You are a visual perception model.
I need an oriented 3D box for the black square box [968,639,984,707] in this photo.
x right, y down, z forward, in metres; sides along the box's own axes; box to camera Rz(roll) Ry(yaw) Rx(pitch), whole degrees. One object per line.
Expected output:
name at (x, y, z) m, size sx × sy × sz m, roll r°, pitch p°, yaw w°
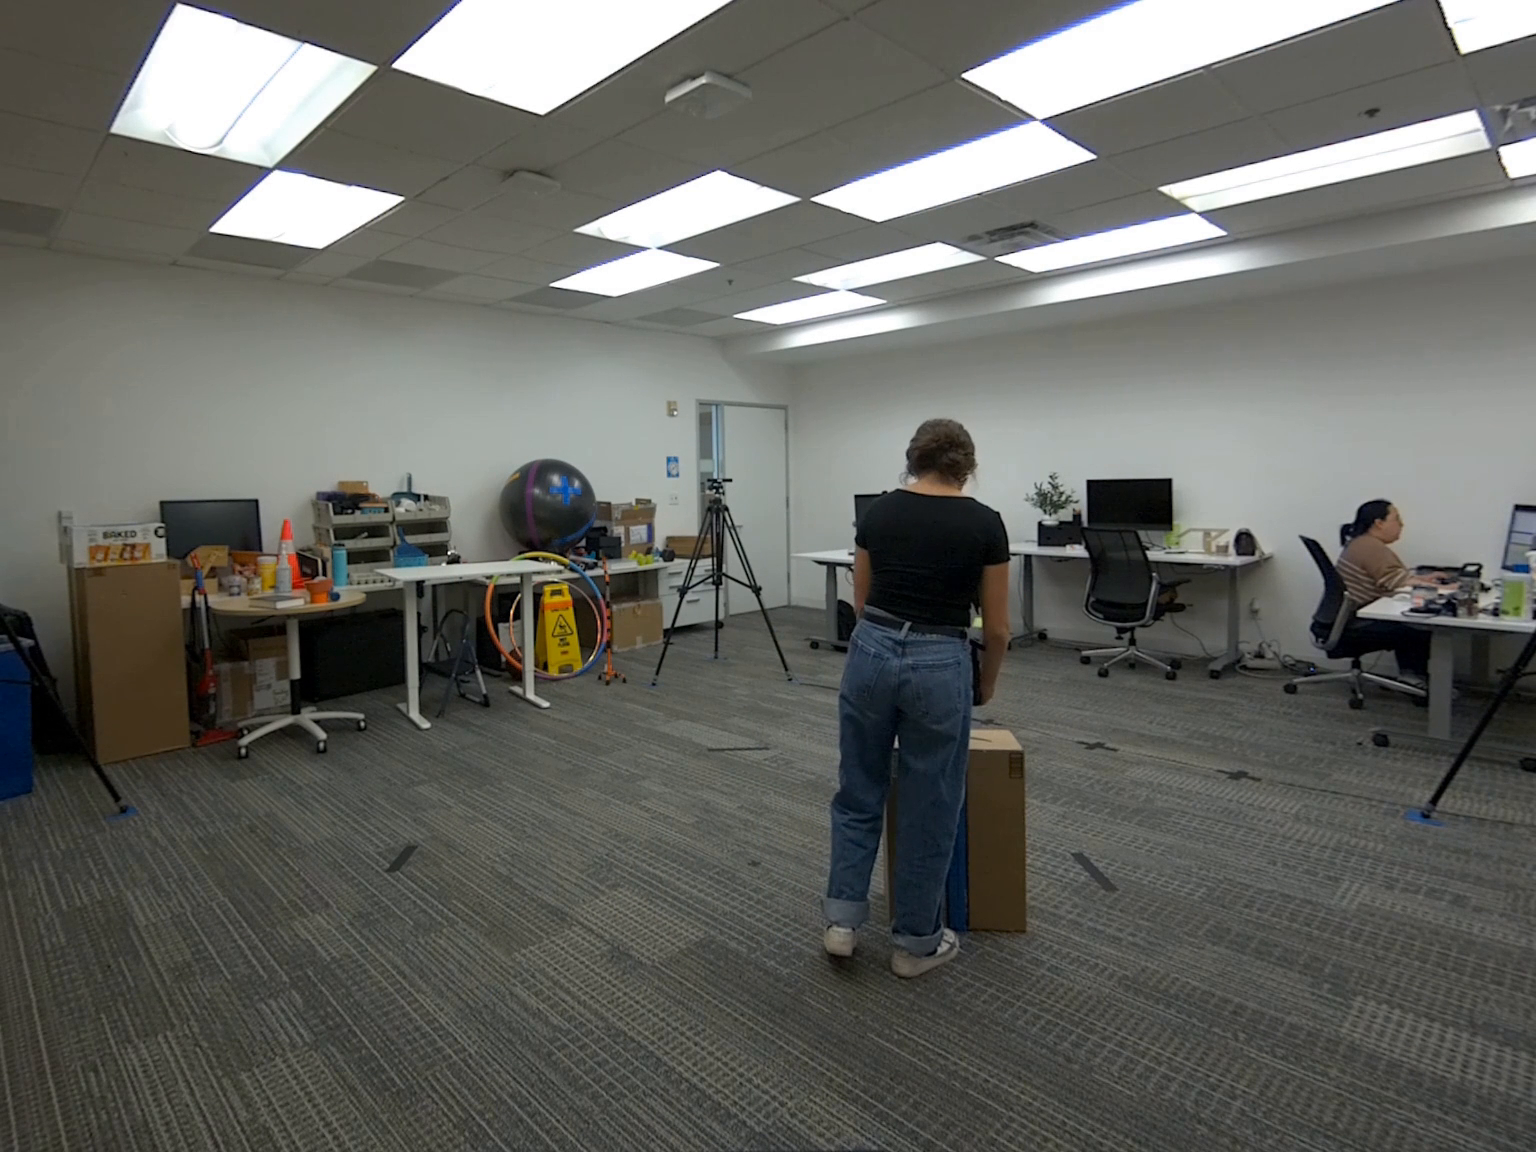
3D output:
black square box at (0.557, 0.242, 2.599) m, size 0.221 × 0.224 × 0.156 m, roll 1°, pitch 18°, yaw 18°
